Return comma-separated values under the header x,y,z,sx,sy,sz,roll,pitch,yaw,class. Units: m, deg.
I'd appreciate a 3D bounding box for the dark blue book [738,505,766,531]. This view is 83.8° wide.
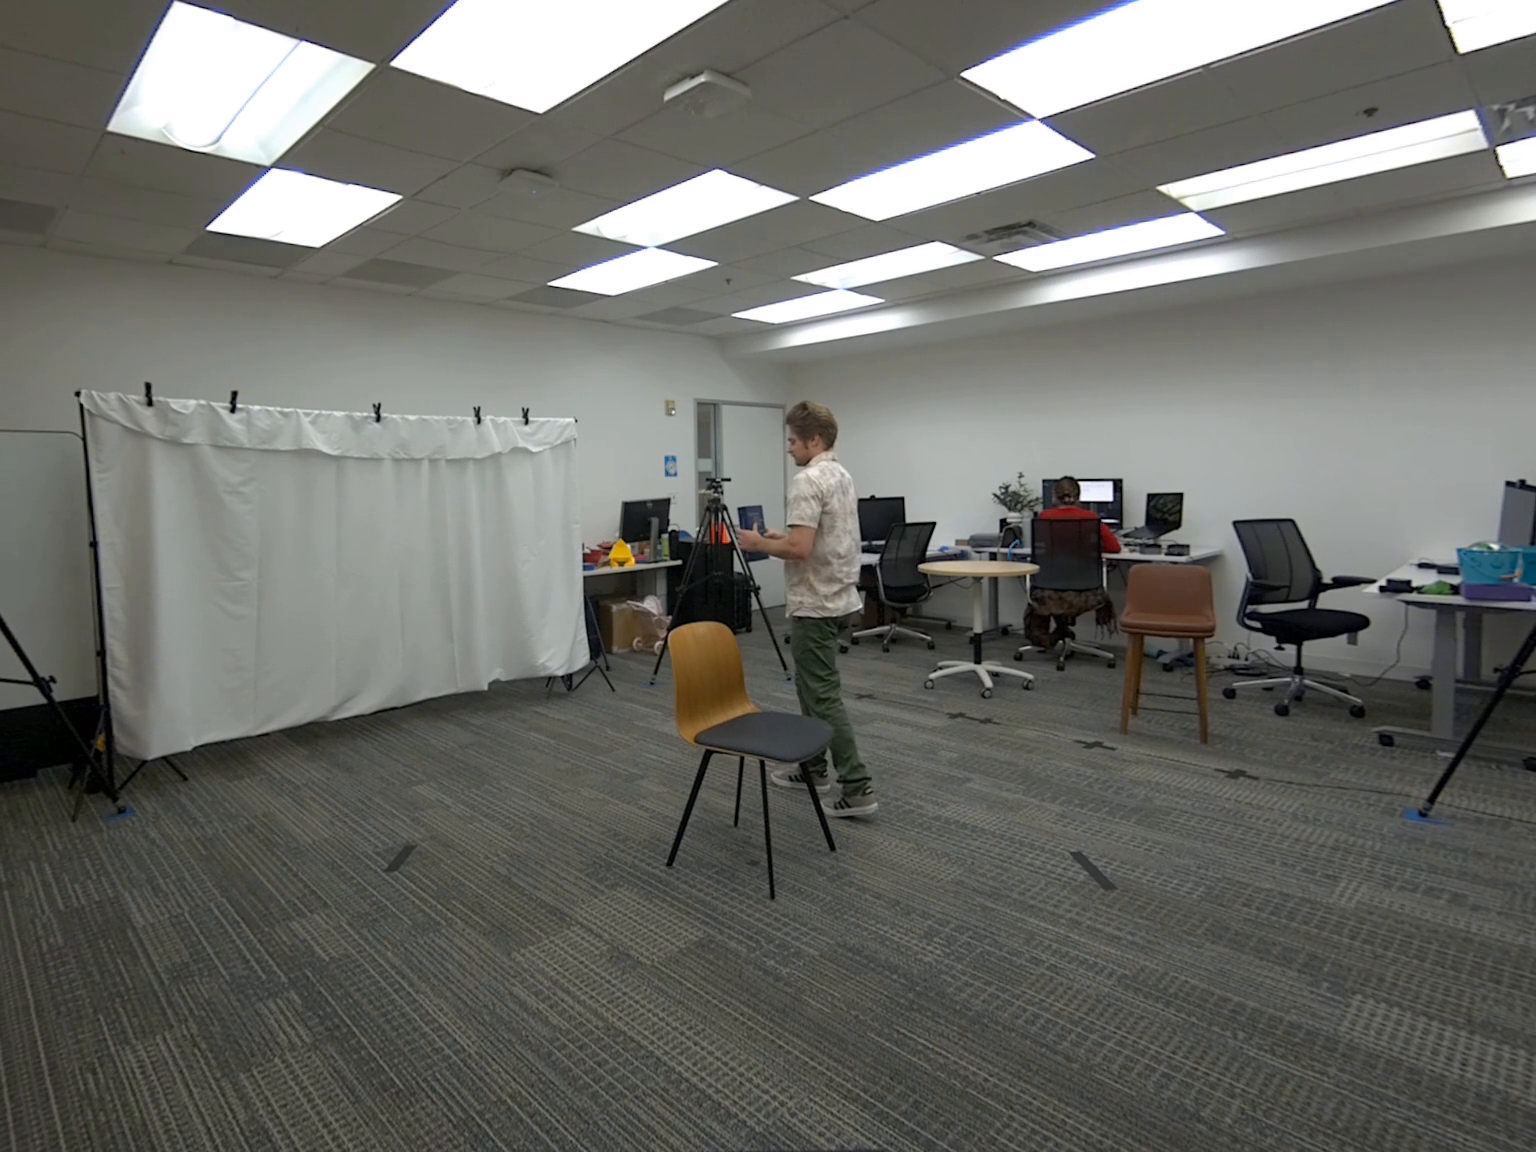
x,y,z,sx,sy,sz,roll,pitch,yaw,class
-0.060,-0.192,3.793,0.046,0.245,0.160,-8,1,27,dark blue book
